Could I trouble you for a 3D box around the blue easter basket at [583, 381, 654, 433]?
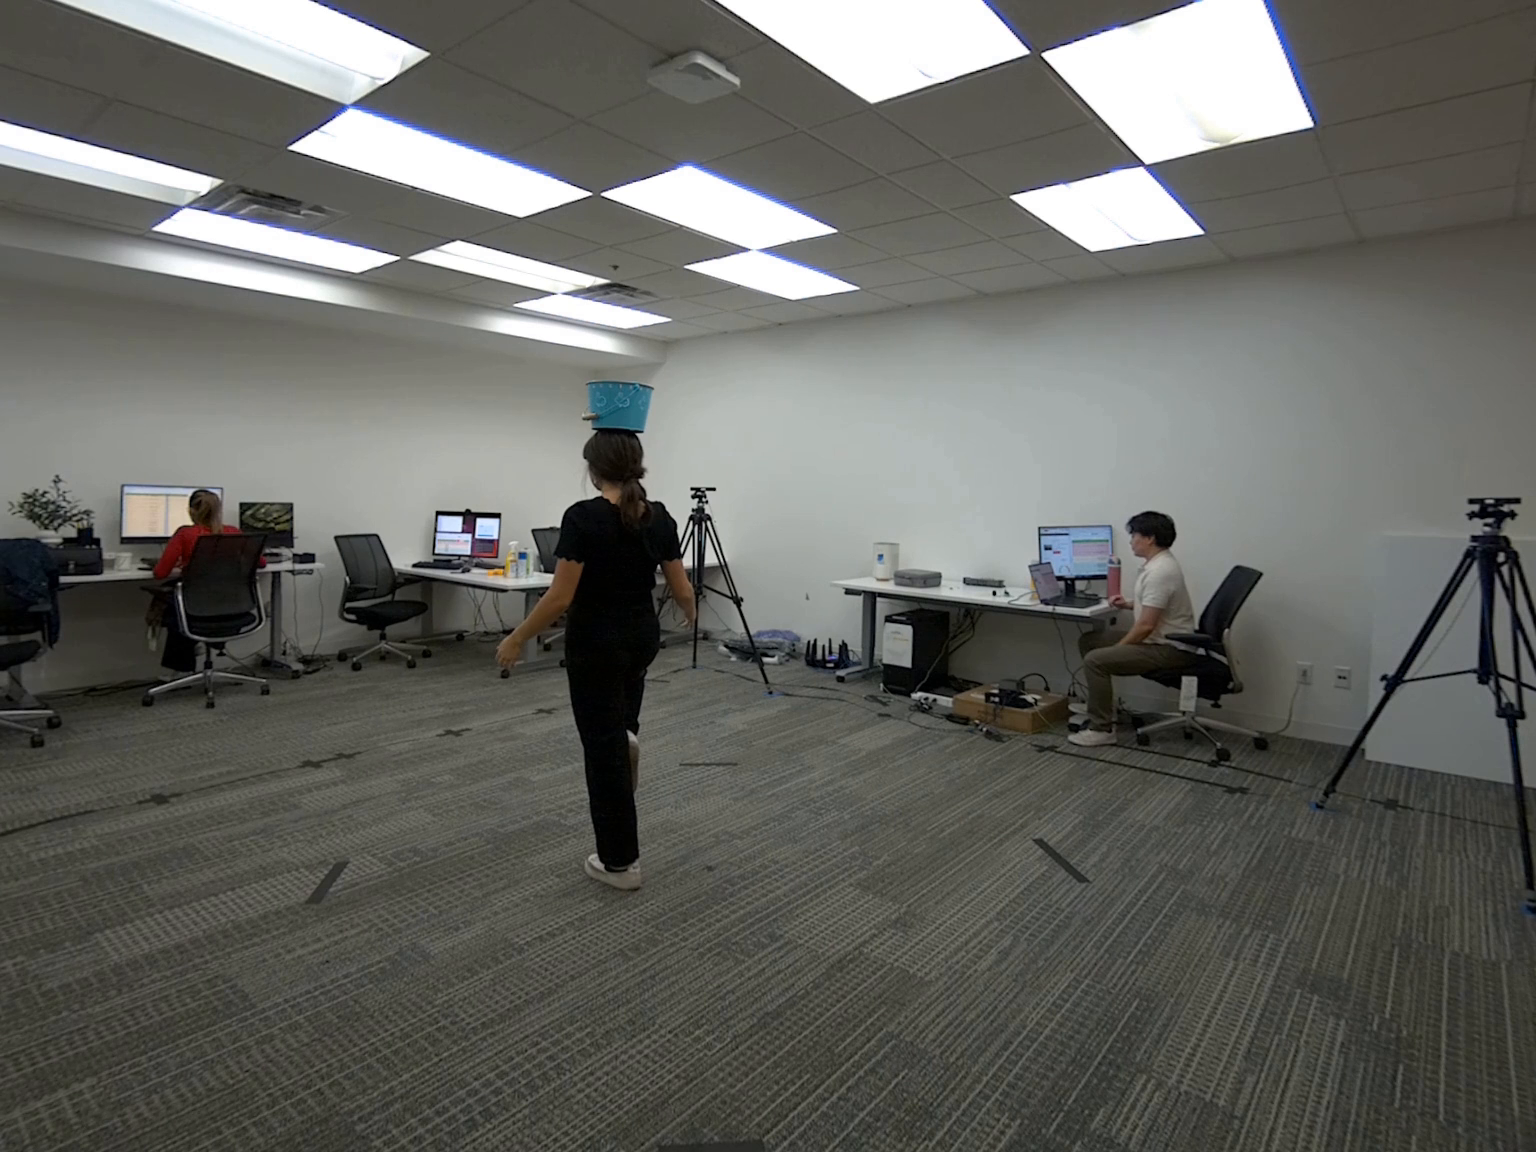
[{"bbox_3d":[-0.524,-0.575,2.886,0.243,0.155,0.244,3,3,-2],"label":"blue easter basket"}]
